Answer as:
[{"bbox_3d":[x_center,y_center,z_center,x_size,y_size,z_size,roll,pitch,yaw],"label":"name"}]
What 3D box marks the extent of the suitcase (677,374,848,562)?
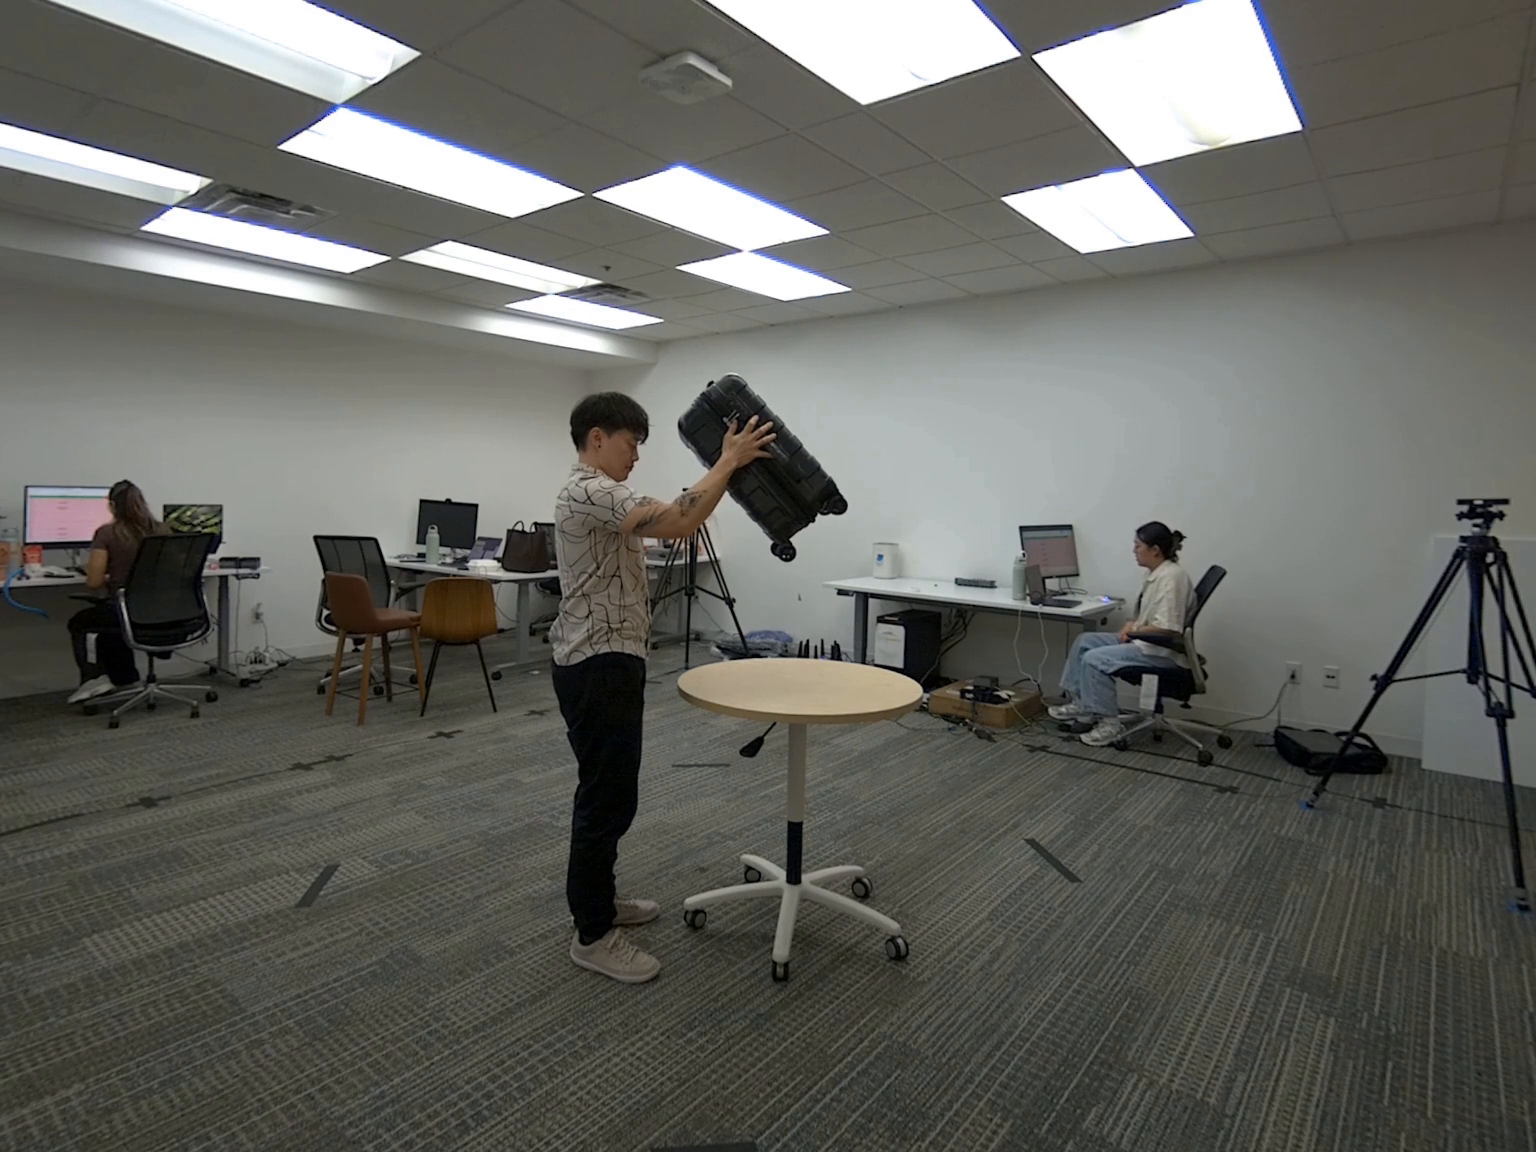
[{"bbox_3d":[-0.044,-0.344,2.619,0.248,0.549,0.376,-41,2,-1],"label":"suitcase"}]
